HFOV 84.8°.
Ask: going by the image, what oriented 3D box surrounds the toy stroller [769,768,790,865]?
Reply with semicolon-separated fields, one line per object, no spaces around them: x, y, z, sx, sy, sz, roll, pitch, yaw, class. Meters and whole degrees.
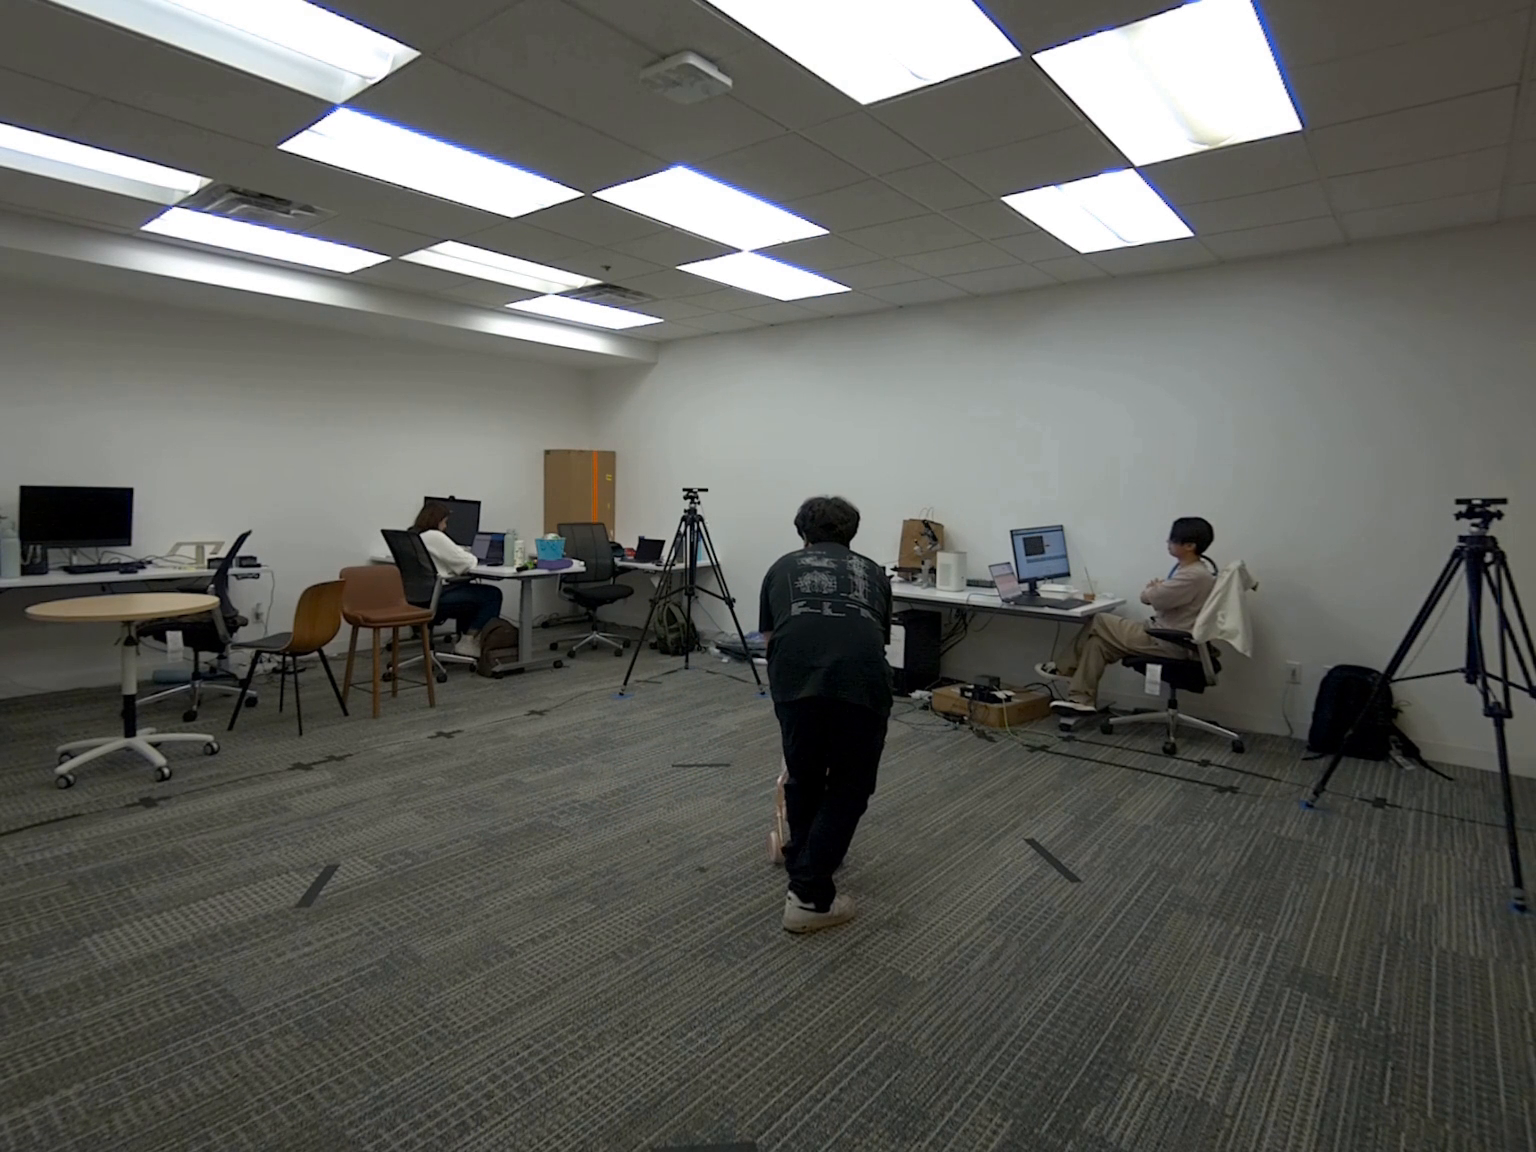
0.145;0.835;3.242;0.282;0.526;0.346;2;18;1;toy stroller
